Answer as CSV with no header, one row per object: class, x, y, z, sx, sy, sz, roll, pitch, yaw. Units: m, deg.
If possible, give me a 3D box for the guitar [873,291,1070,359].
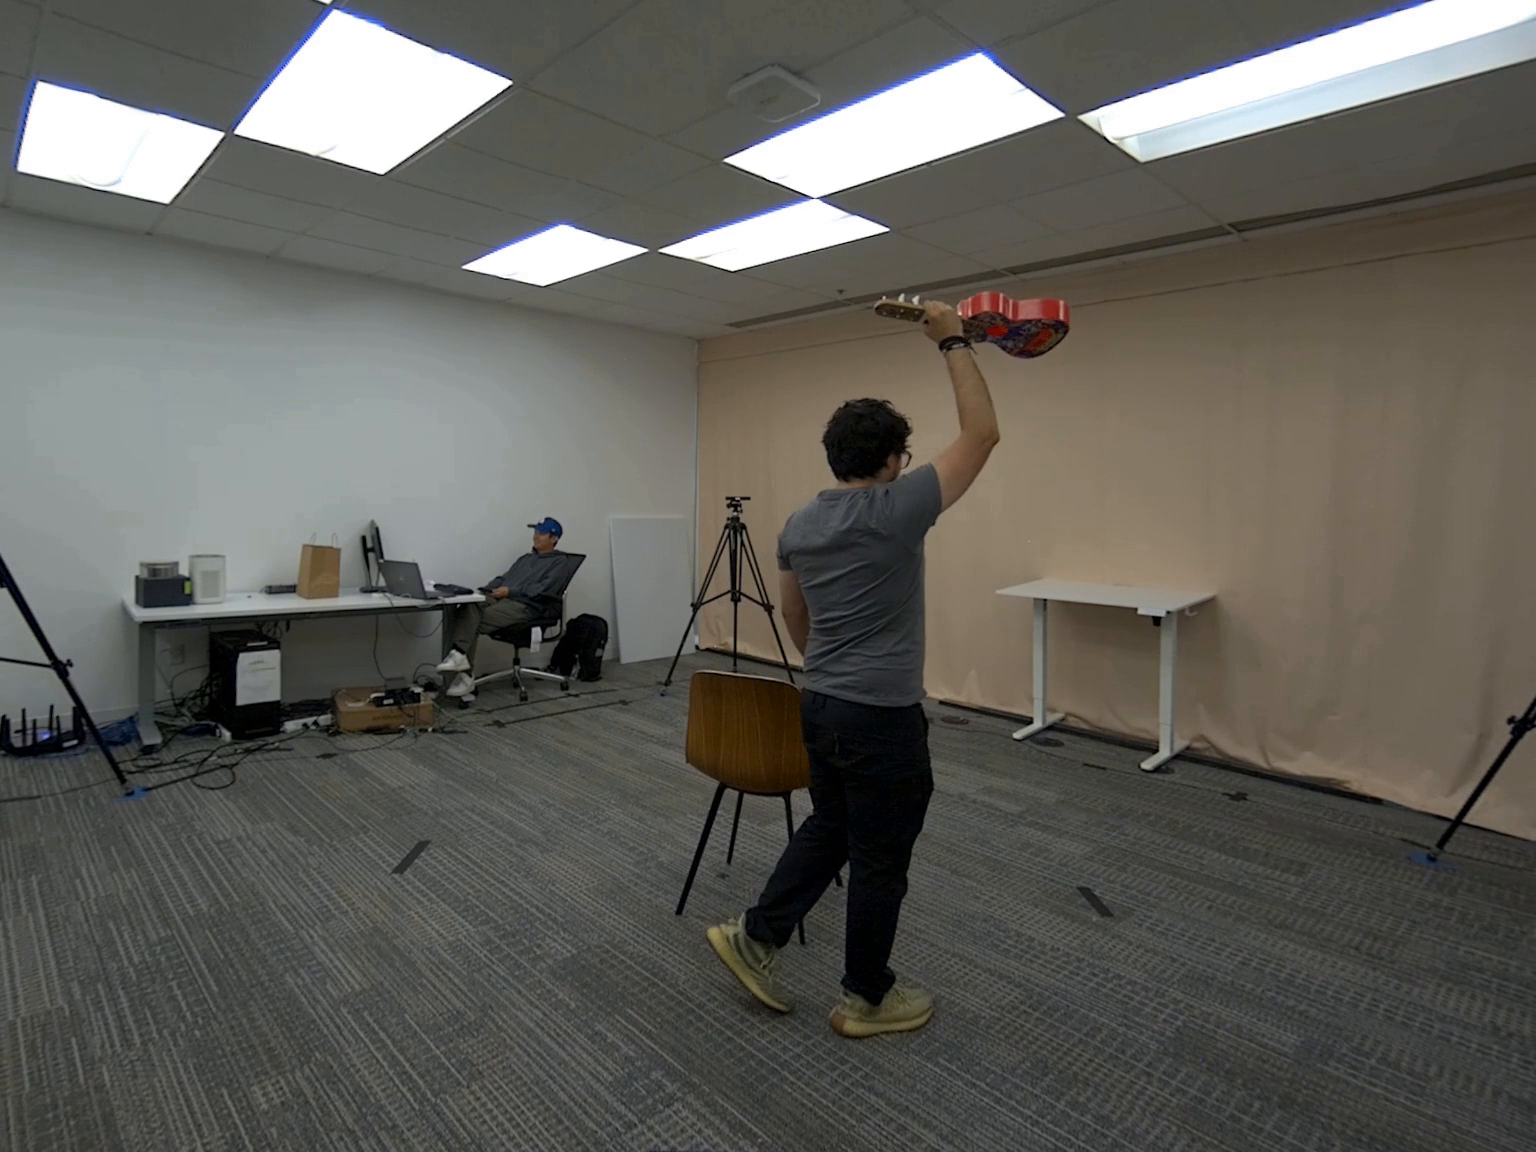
guitar,0.525,-0.667,2.111,0.490,0.071,0.194,11,-18,-16
